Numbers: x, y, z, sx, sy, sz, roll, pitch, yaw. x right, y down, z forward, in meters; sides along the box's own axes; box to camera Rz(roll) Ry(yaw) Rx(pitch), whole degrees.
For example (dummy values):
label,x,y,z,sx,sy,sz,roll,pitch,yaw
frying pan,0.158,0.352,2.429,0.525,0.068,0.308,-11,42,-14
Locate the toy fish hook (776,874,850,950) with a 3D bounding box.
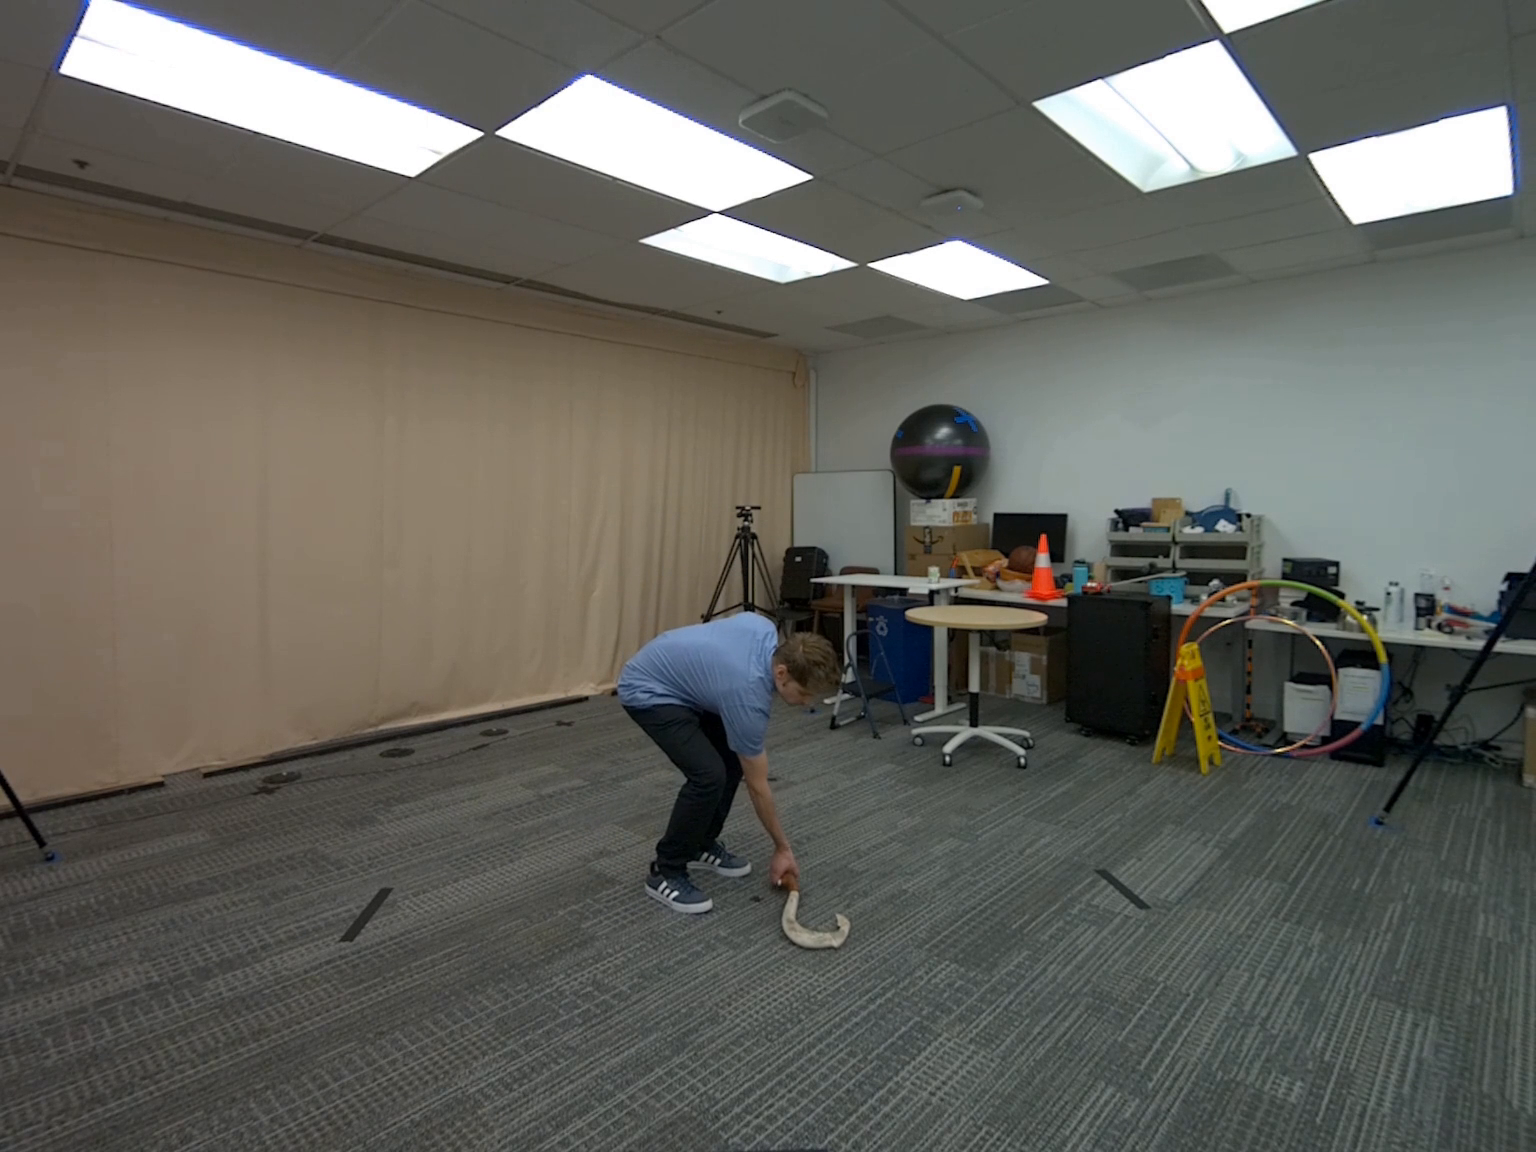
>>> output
label,x,y,z,sx,sy,sz,roll,pitch,yaw
toy fish hook,0.144,1.124,2.882,0.223,0.048,0.511,7,7,-7
